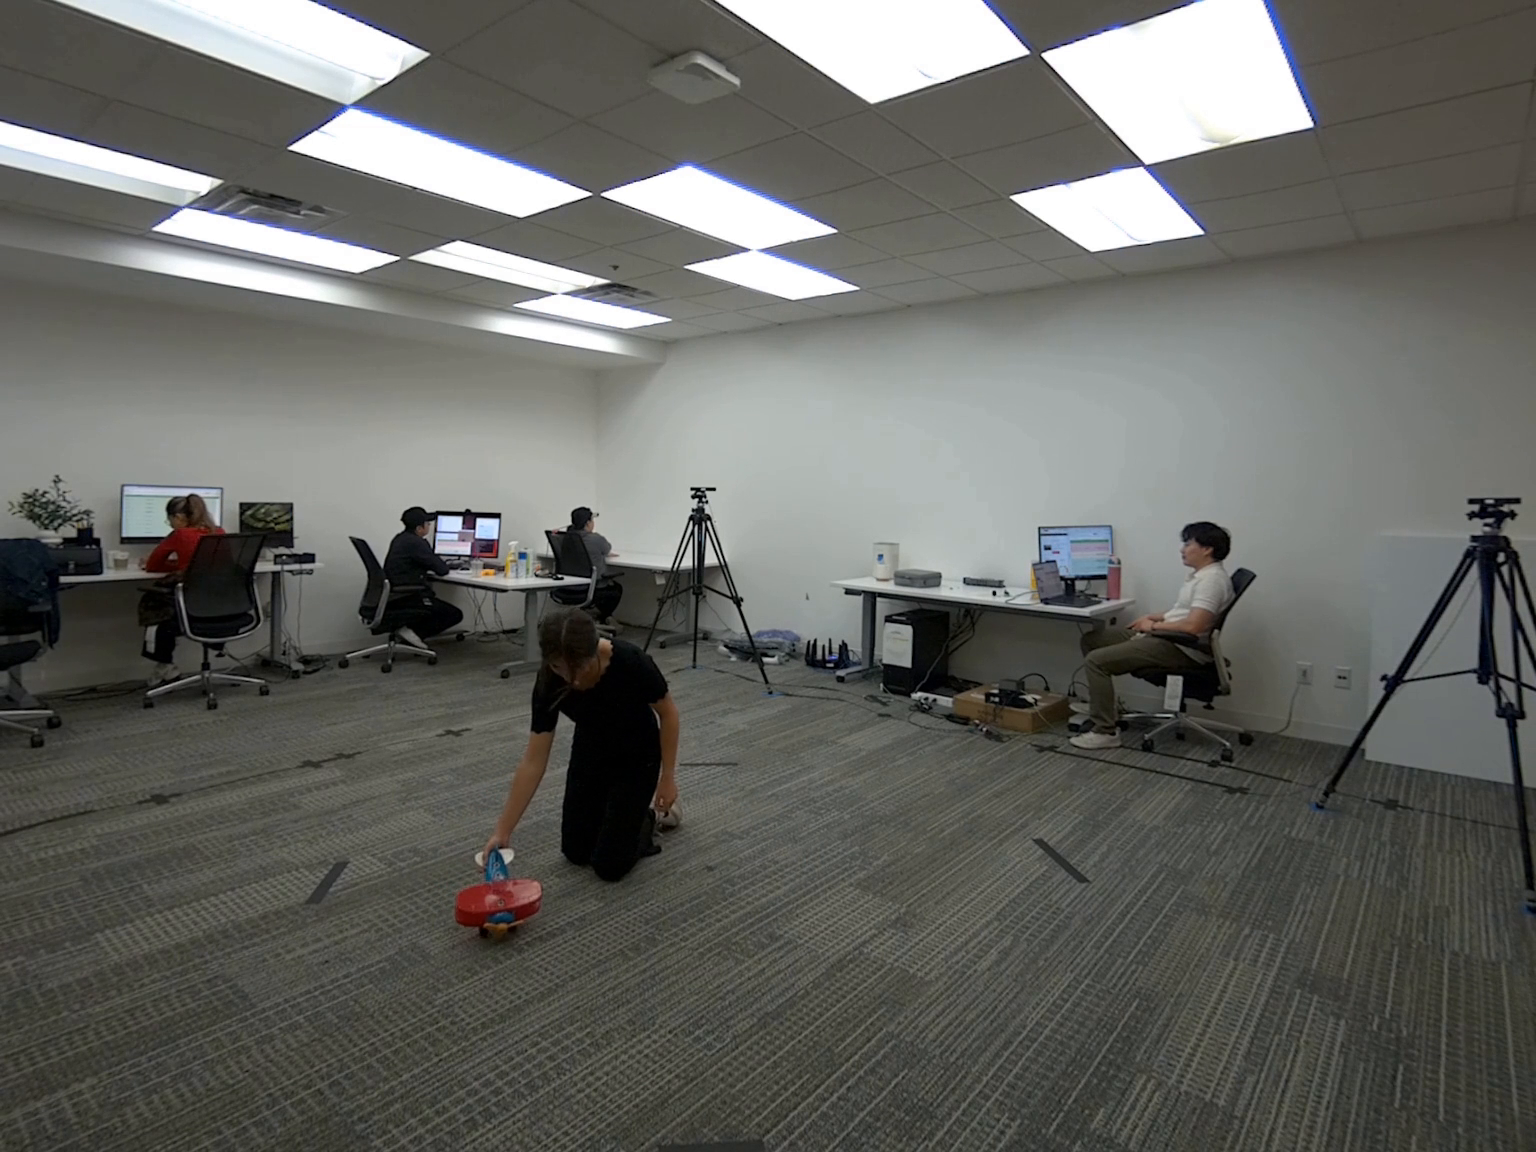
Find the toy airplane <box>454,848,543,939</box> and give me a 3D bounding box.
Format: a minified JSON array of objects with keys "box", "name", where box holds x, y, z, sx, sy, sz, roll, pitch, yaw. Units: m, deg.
[{"box":[-0.869,0.982,2.639,0.248,0.264,0.155,-31,-17,-37],"name":"toy airplane"}]
